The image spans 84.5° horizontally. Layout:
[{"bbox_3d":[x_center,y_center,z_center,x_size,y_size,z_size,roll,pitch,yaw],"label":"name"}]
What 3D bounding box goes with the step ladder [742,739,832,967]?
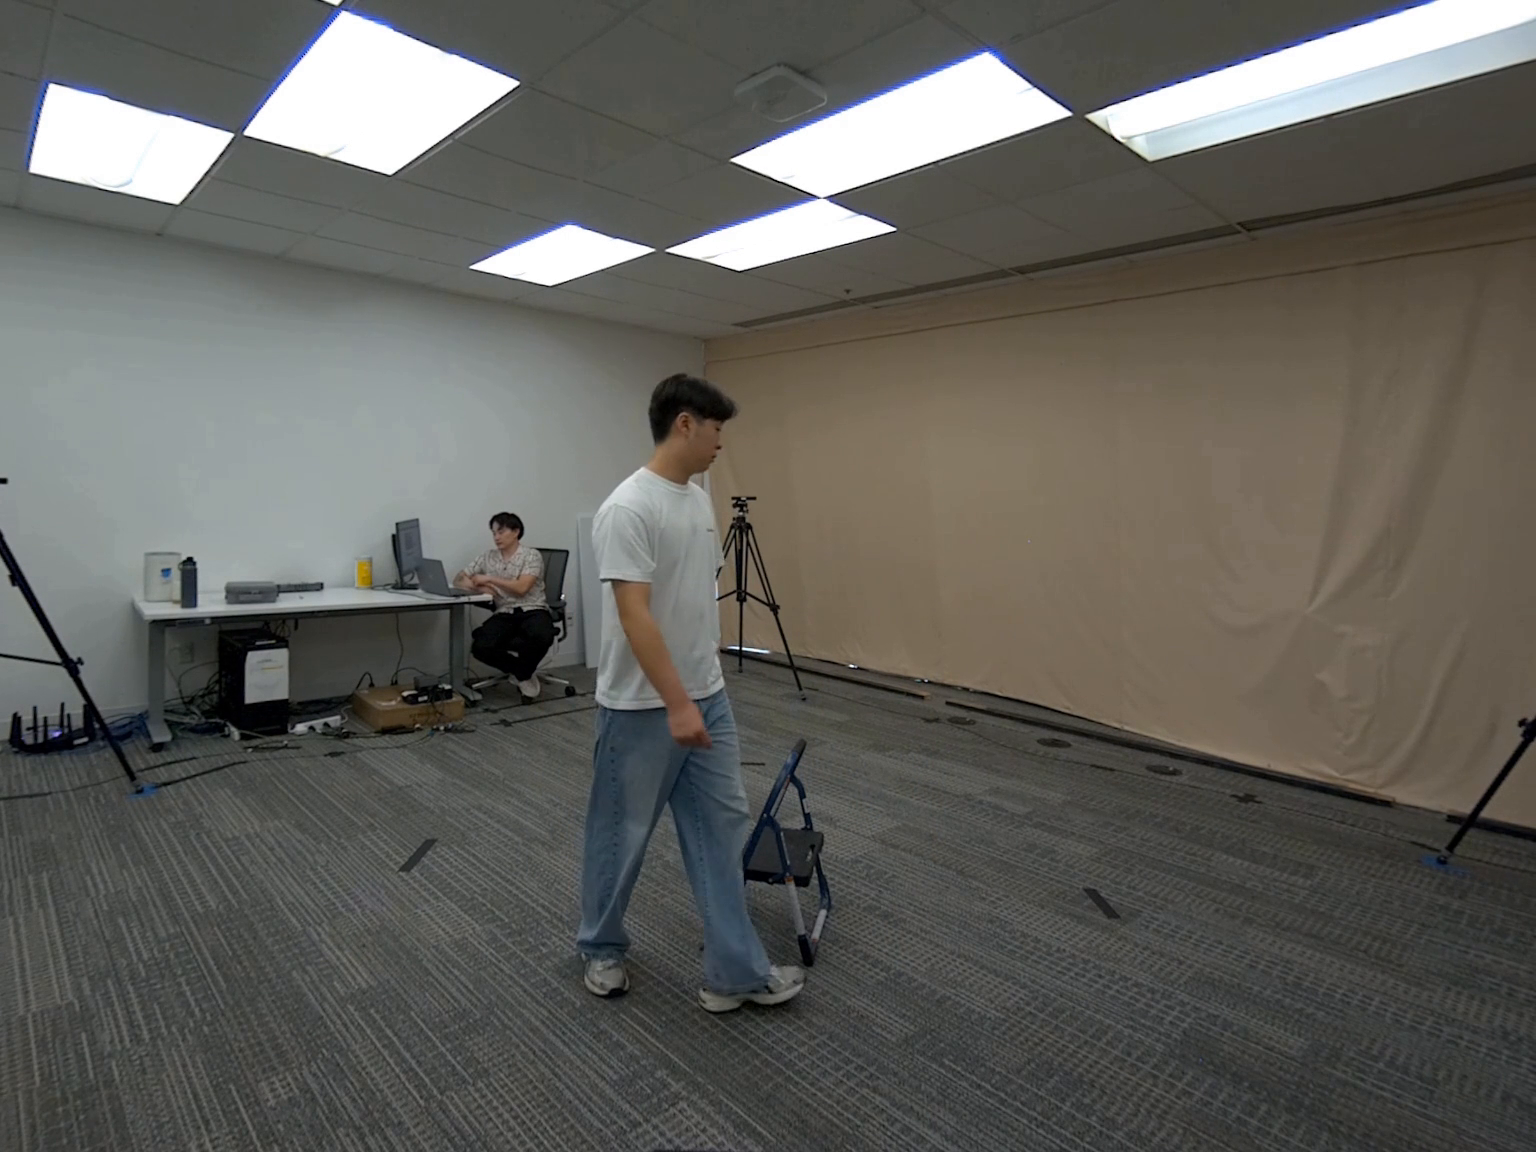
[{"bbox_3d":[0.014,0.841,2.725,0.353,0.604,0.427,2,4,12],"label":"step ladder"}]
